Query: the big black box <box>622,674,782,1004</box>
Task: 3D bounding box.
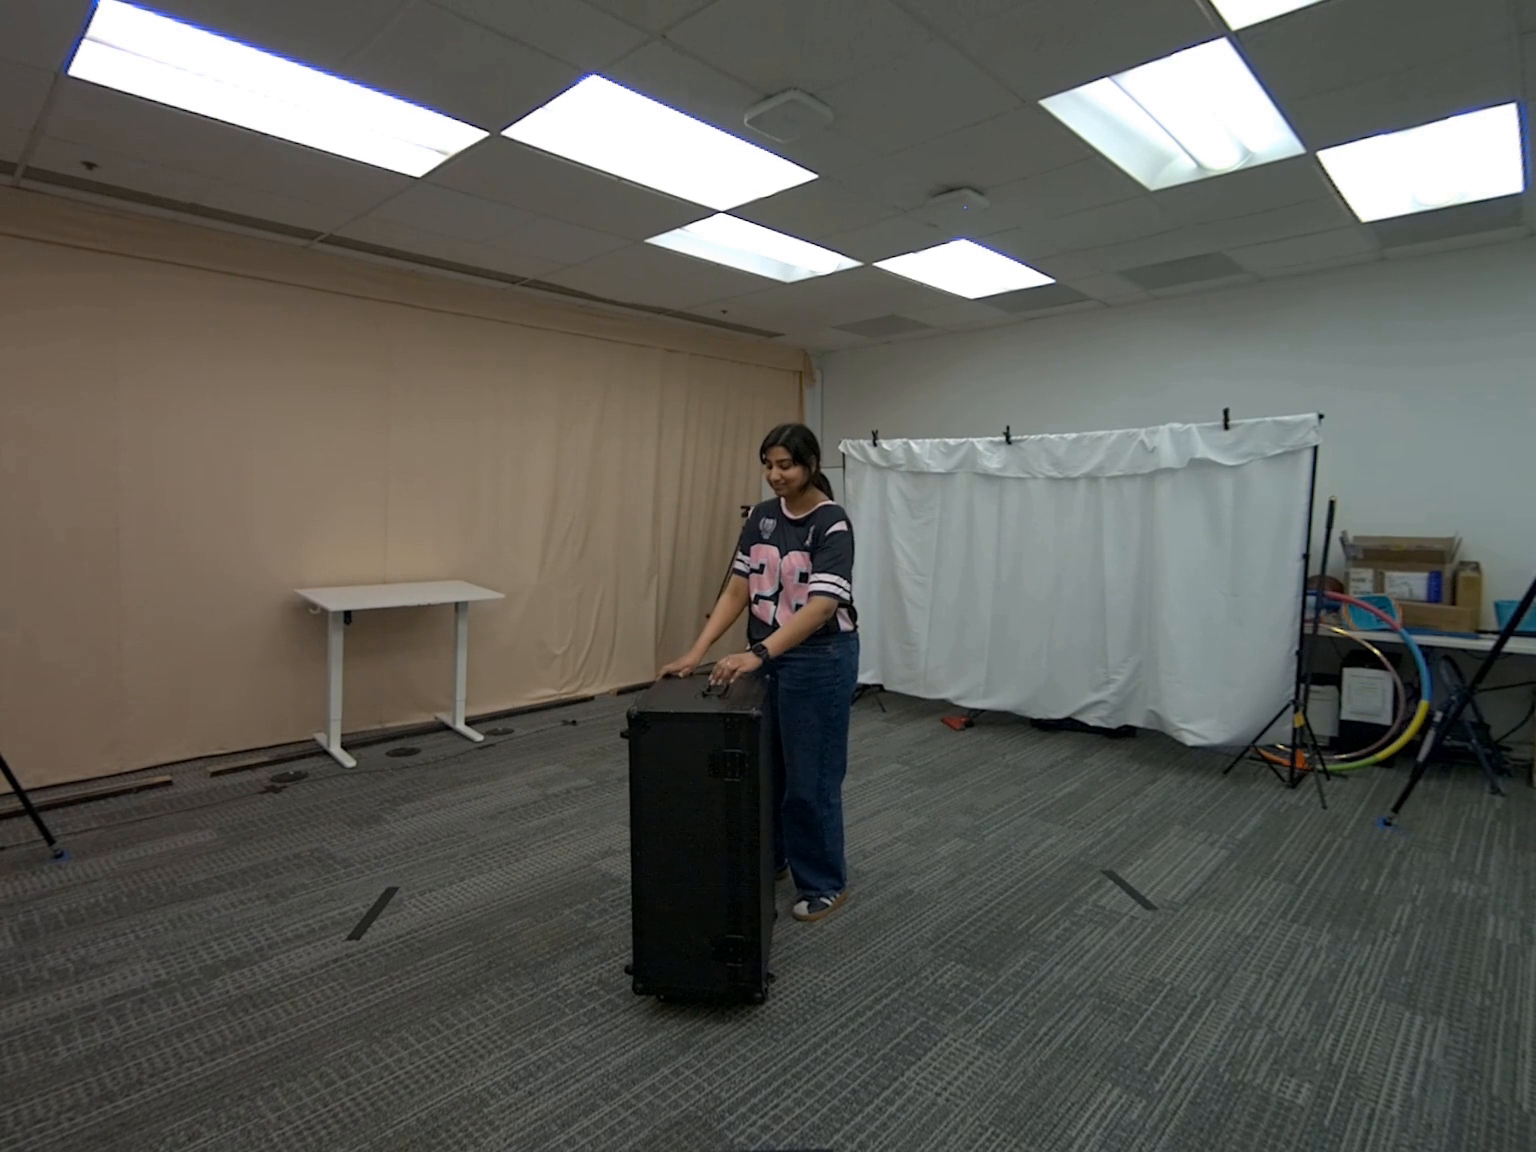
[{"bbox_3d":[-0.172,0.765,2.472,0.388,0.867,0.521,-1,3,5],"label":"big black box"}]
